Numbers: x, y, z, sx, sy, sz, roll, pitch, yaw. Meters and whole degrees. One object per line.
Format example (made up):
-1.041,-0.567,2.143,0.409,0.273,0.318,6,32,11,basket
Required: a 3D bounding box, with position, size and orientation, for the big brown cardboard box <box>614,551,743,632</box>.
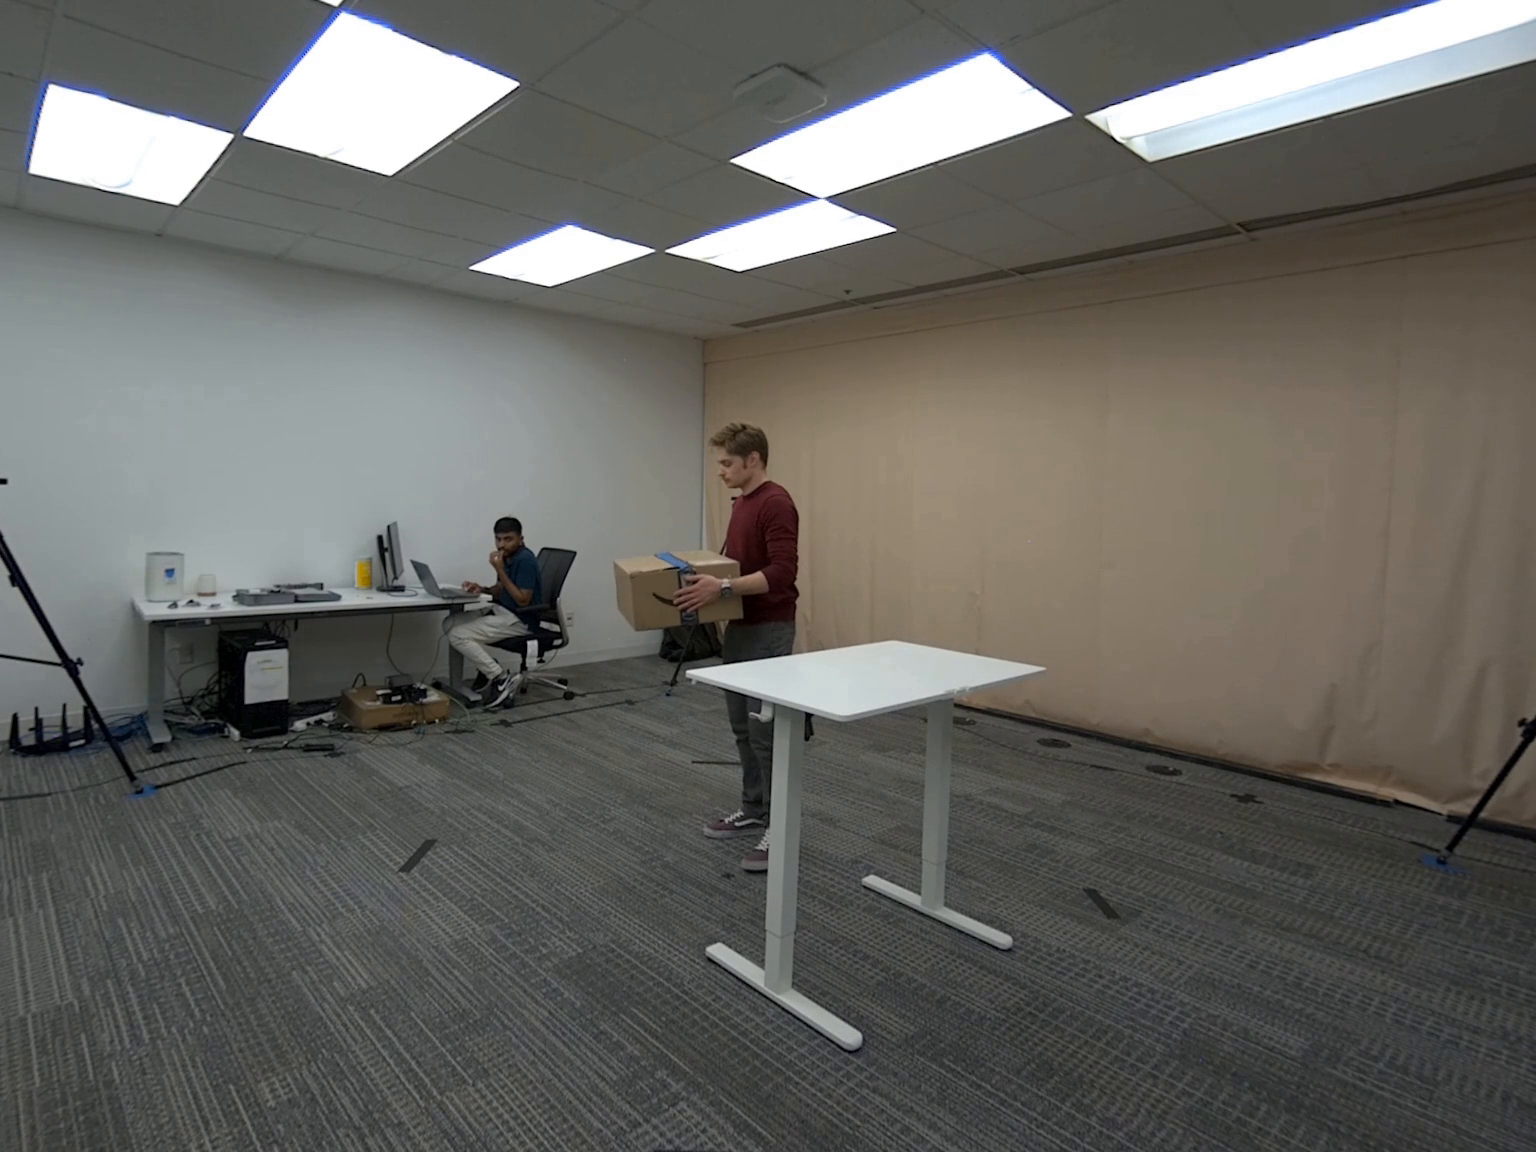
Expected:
-0.371,0.046,3.367,0.413,0.232,0.598,-6,7,-17,big brown cardboard box
